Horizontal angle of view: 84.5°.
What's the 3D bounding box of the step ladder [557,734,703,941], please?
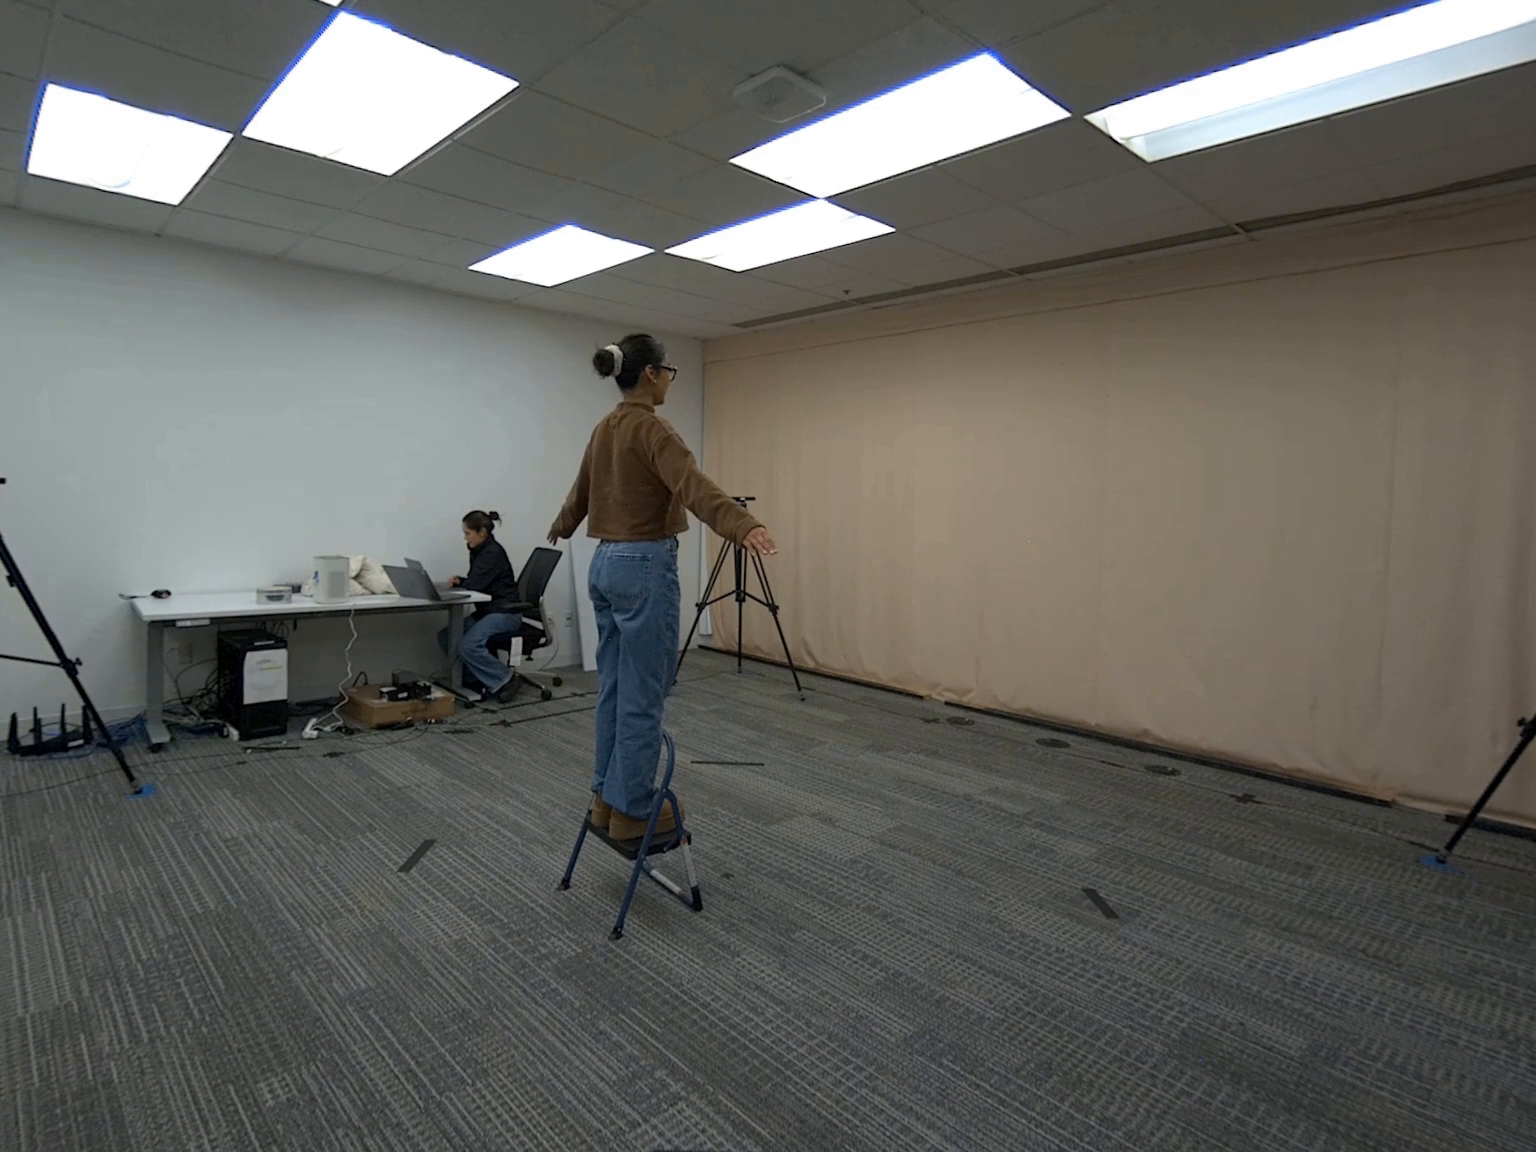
[{"bbox_3d":[-0.473,0.819,2.890,0.341,0.605,0.441,-1,4,-38],"label":"step ladder"}]
